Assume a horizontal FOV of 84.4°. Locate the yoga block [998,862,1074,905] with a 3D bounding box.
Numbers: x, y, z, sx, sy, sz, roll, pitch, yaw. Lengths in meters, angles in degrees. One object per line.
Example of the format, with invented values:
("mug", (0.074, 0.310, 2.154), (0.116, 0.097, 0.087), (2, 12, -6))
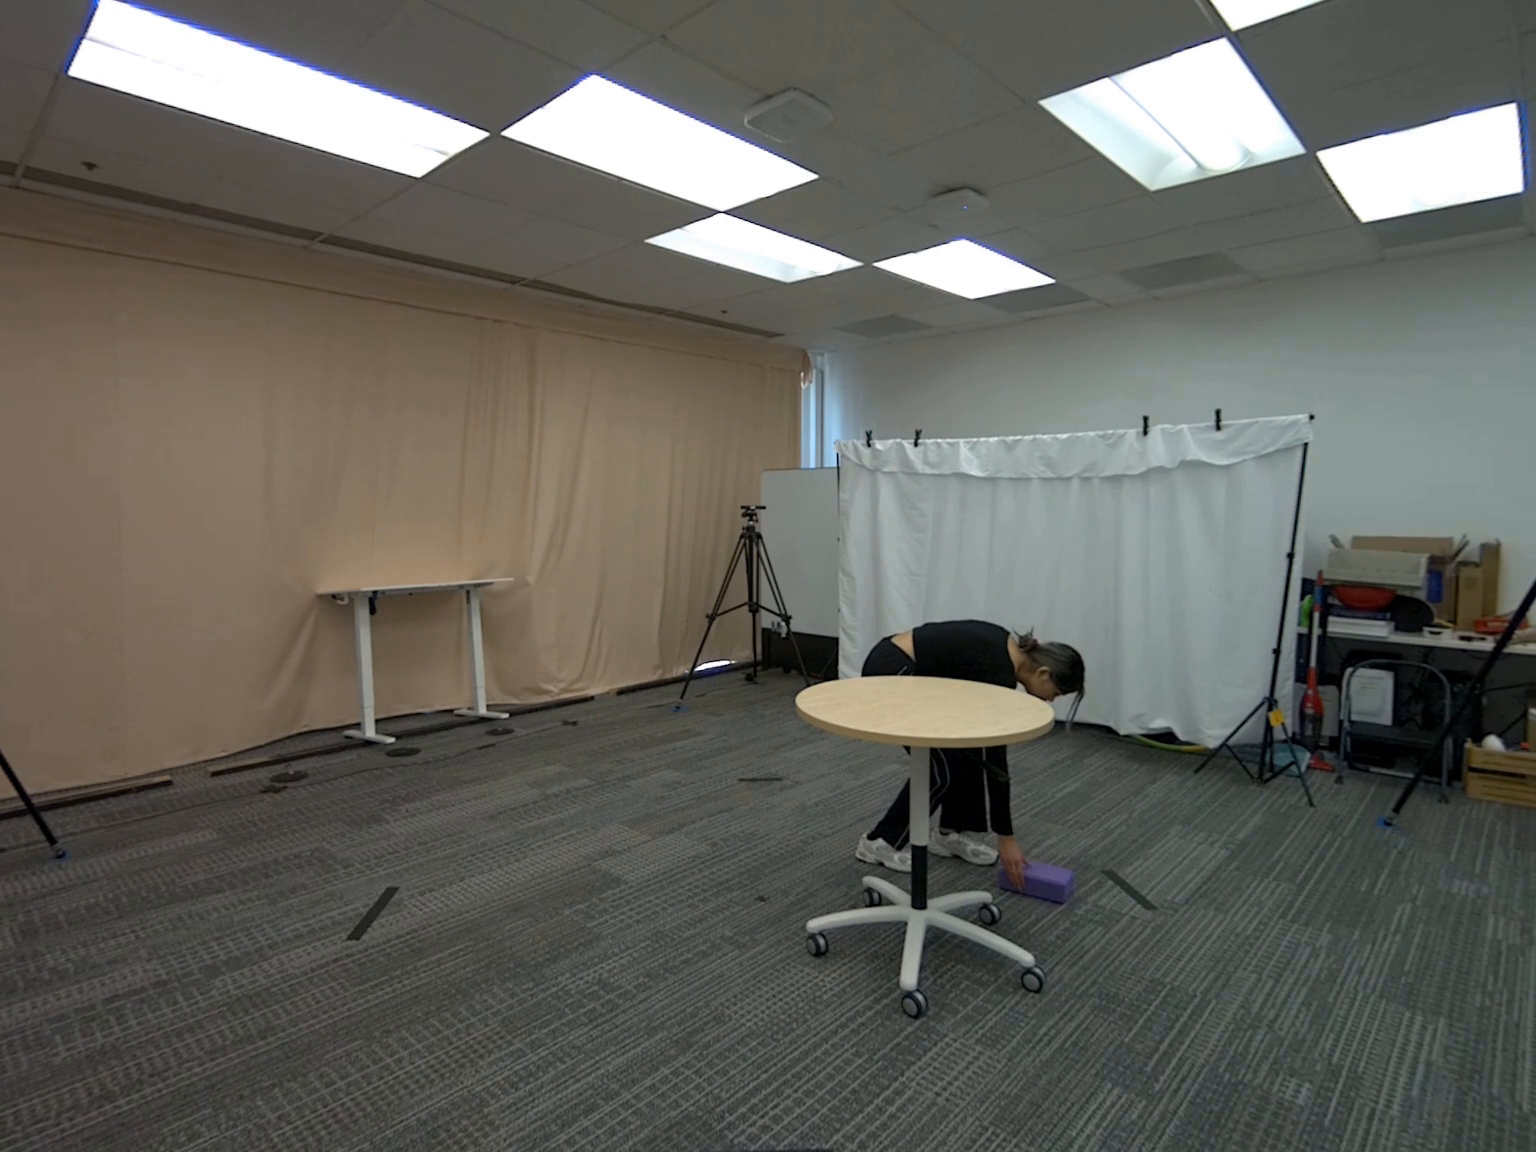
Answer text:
("yoga block", (0.982, 1.097, 3.048), (0.236, 0.076, 0.145), (4, 4, 34))
